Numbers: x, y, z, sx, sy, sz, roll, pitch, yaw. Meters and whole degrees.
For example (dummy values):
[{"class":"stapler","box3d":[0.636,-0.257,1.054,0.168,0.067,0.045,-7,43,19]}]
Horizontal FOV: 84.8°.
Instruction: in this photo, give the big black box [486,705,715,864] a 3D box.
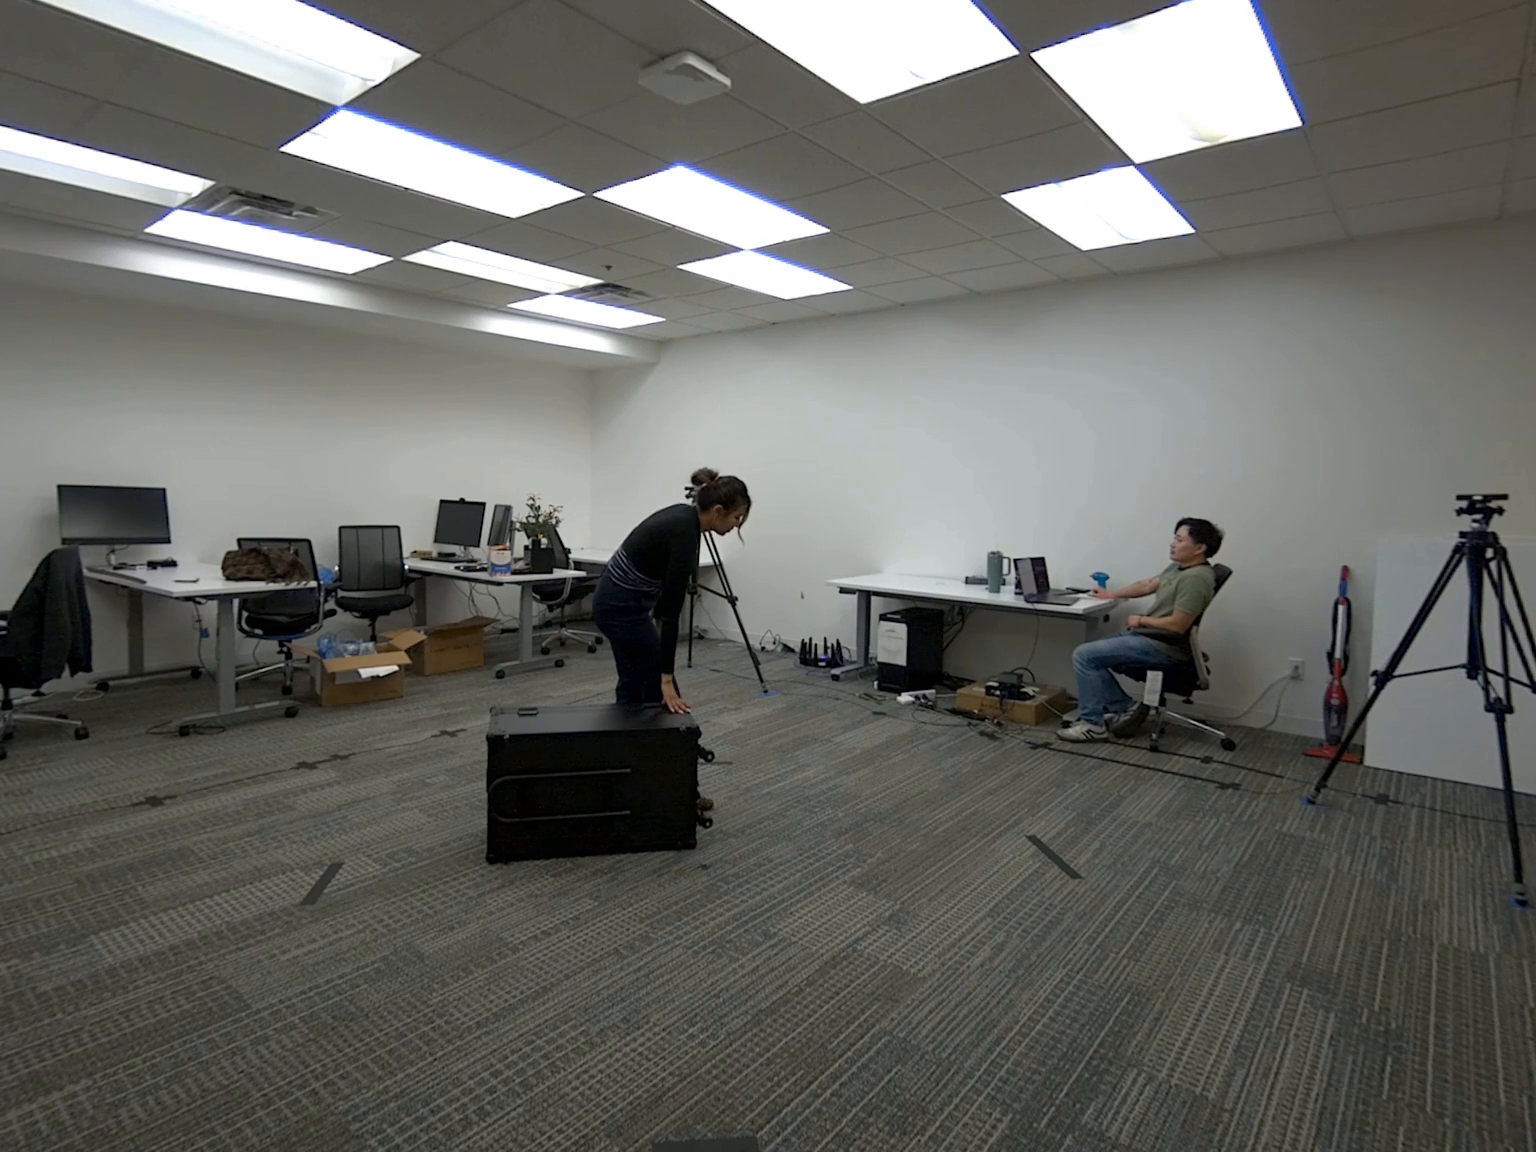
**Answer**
[{"class":"big black box","box3d":[-0.668,0.782,3.329,0.850,0.518,0.404,0,6,-13]}]
